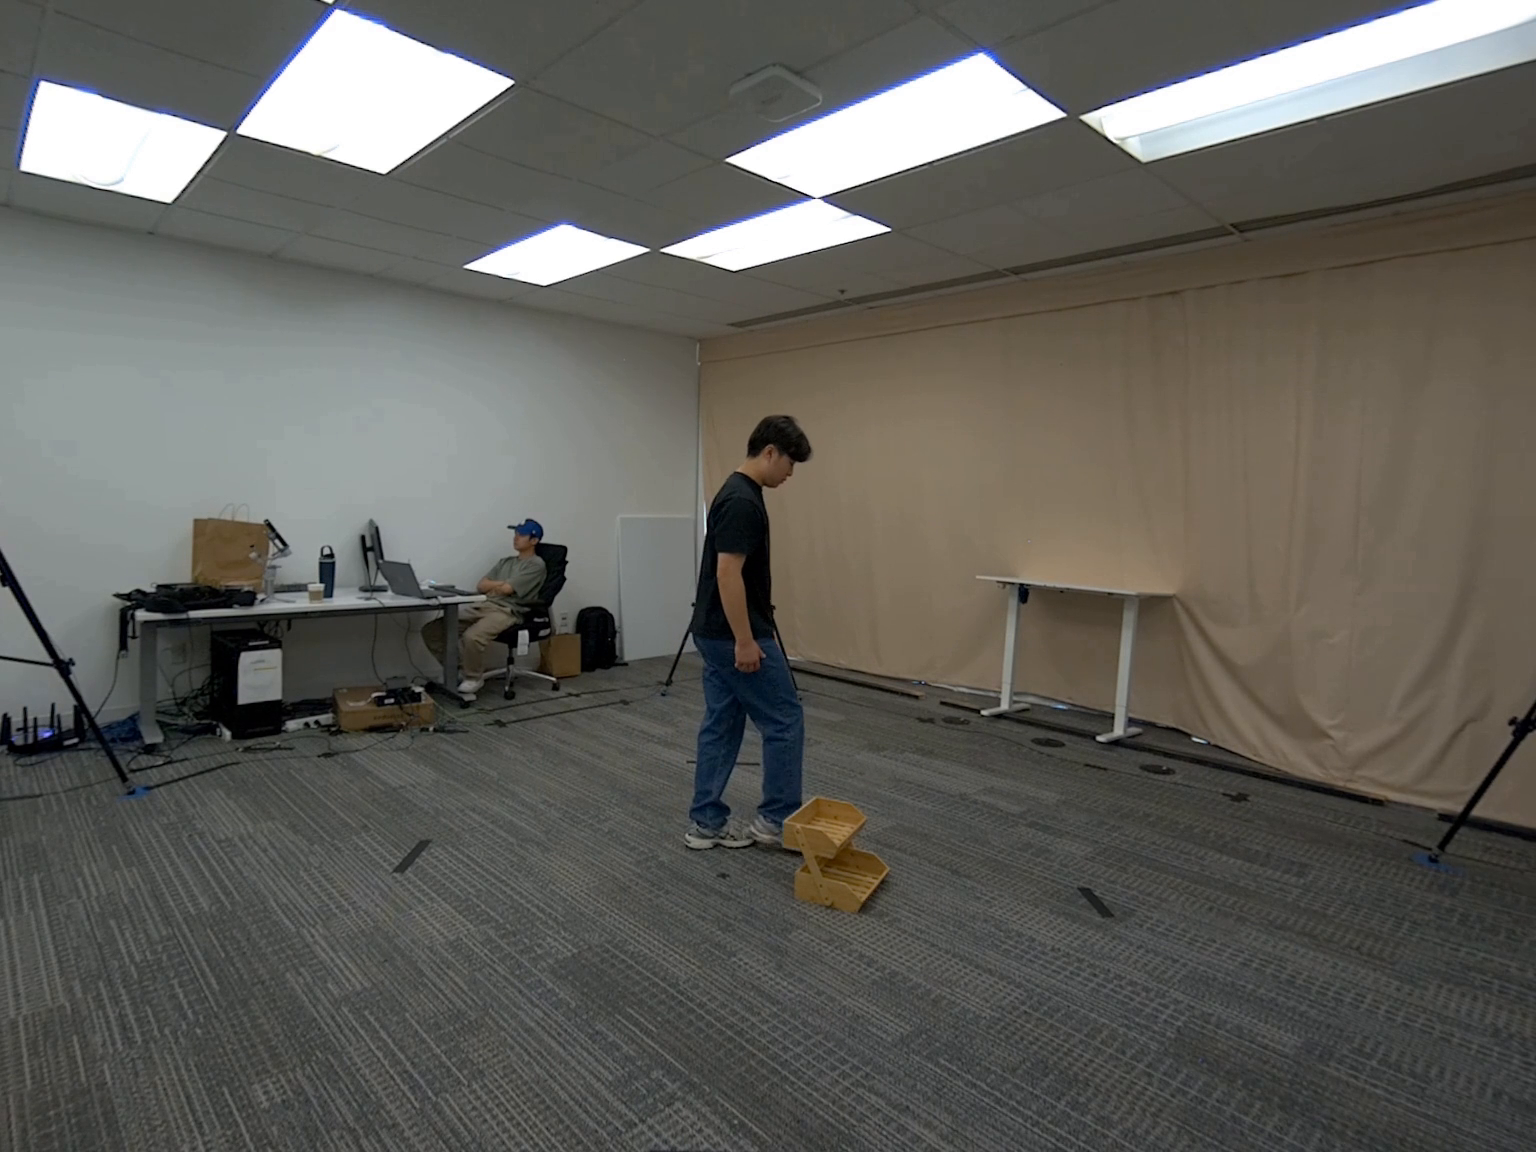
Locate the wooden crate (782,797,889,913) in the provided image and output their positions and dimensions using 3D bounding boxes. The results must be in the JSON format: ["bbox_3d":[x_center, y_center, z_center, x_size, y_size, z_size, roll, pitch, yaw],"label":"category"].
[{"bbox_3d":[0.252,0.991,3.019,0.308,0.273,0.319,3,4,27],"label":"wooden crate"}]
